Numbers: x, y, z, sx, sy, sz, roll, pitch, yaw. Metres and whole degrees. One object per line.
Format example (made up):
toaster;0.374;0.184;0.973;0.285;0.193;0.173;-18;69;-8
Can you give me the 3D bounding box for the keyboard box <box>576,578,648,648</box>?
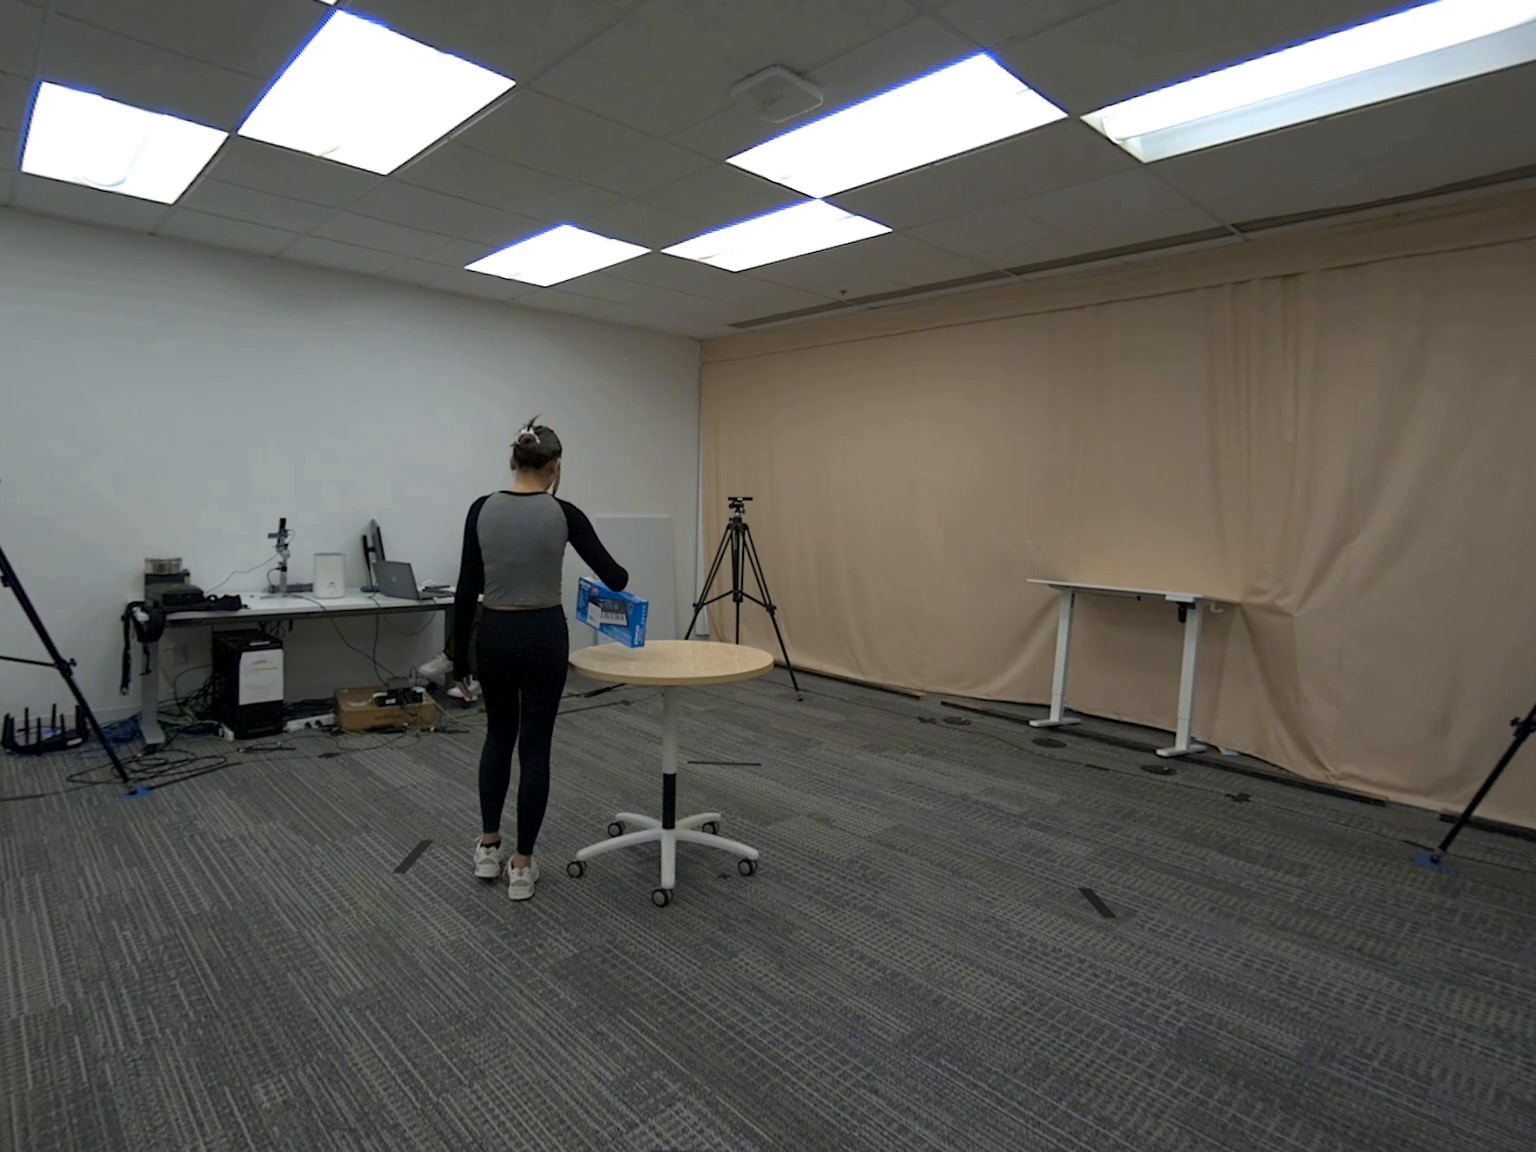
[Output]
keyboard box;-0.609;0.136;3.219;0.058;0.175;0.449;0;12;-39
